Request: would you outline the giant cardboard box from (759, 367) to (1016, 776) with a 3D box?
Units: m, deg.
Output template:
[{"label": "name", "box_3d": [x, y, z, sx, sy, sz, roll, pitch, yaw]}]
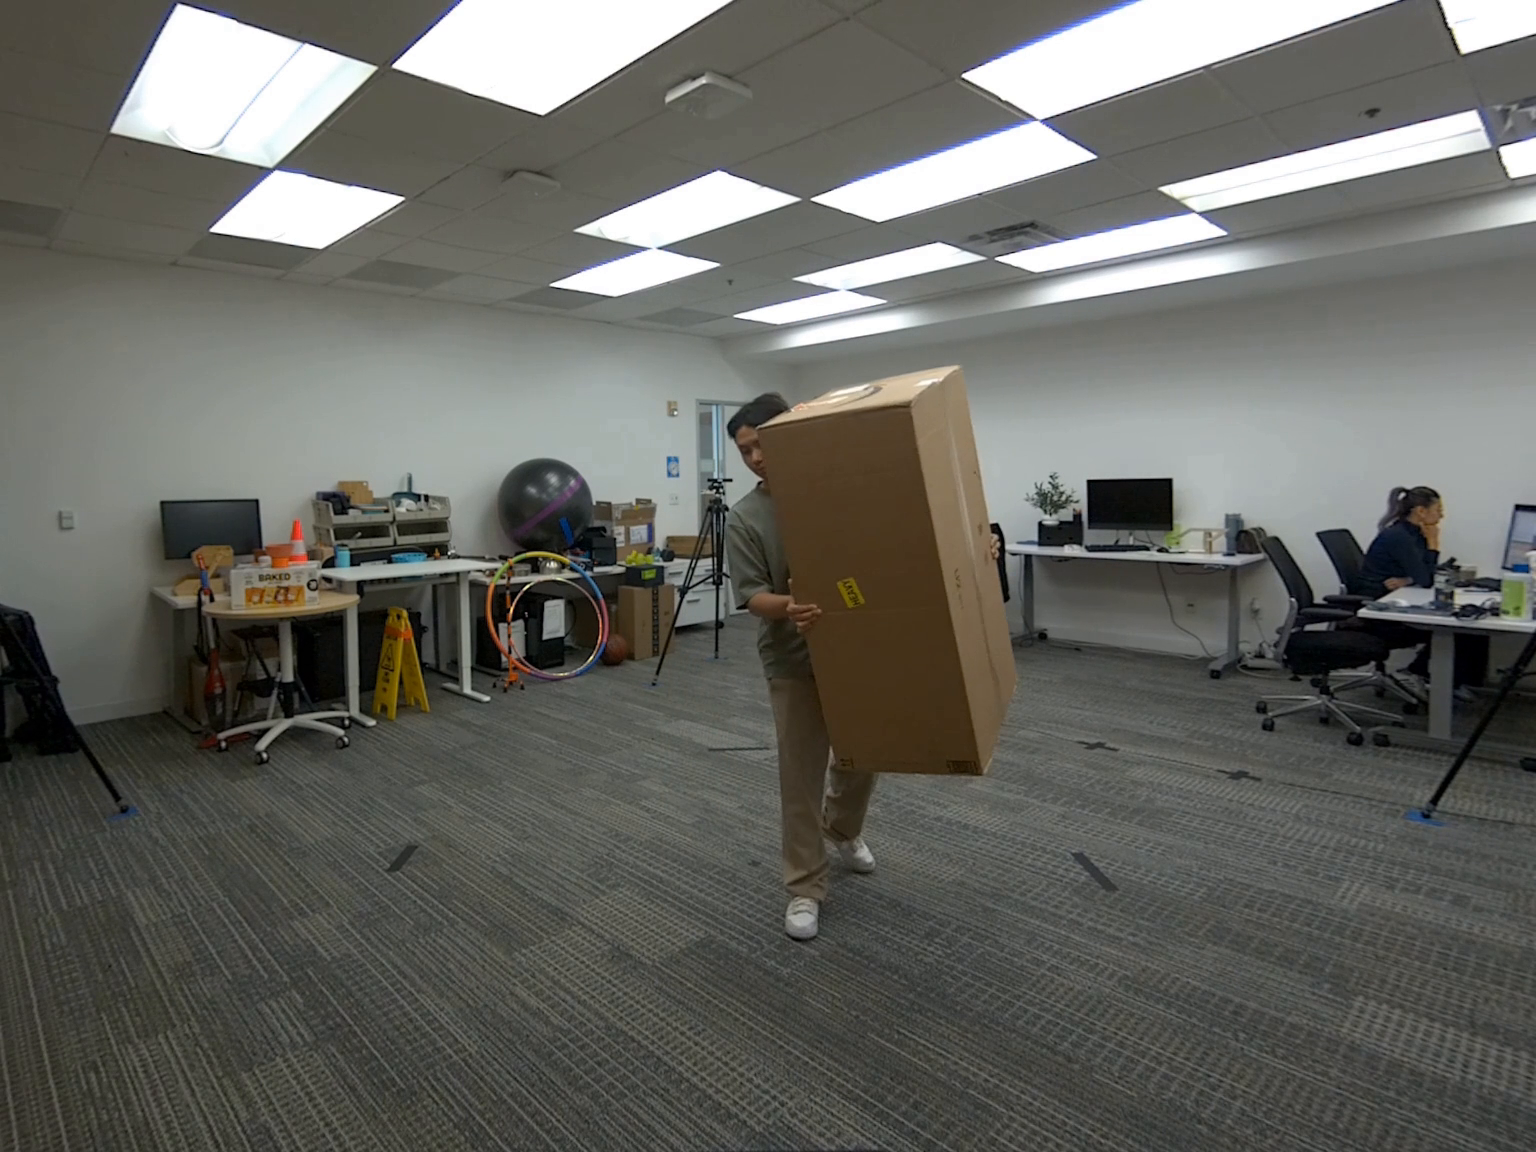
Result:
[{"label": "giant cardboard box", "box_3d": [0.382, -0.024, 2.487, 0.436, 1.010, 0.573, -6, 17, 29]}]
